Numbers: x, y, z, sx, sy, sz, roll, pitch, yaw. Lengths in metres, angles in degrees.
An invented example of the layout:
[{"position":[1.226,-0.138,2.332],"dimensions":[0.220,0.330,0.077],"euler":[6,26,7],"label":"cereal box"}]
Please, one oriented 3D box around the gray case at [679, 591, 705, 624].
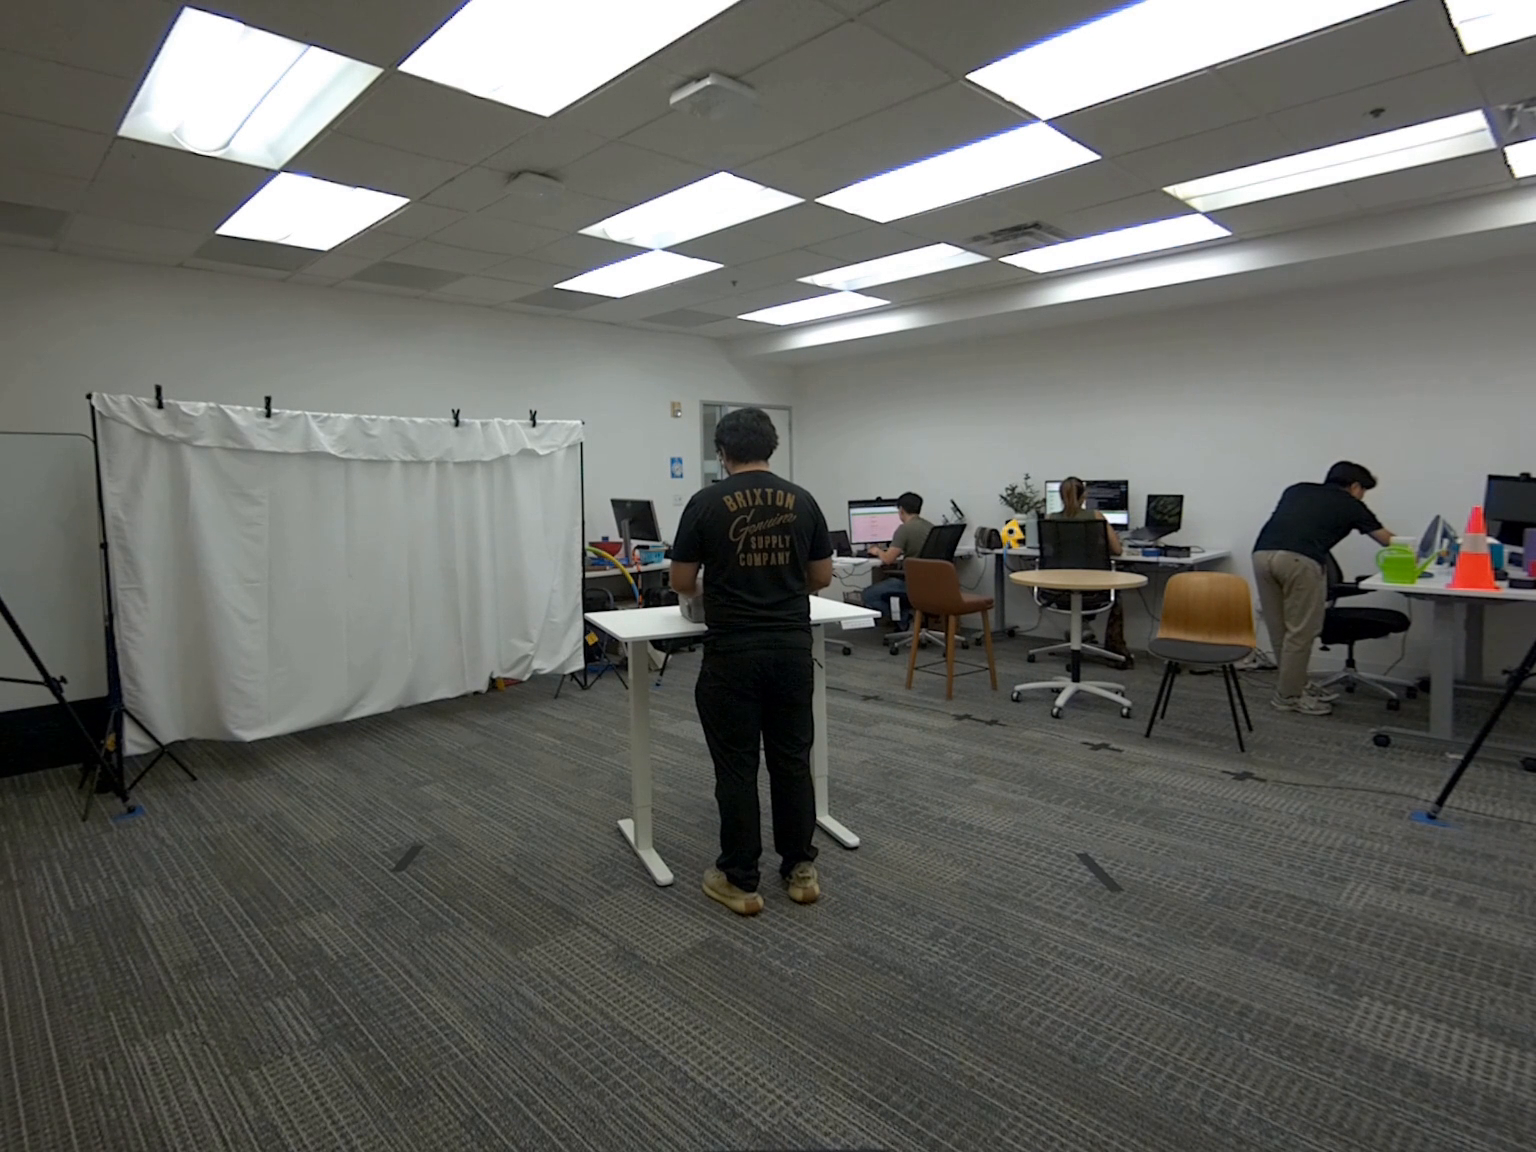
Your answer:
[{"position":[-0.202,0.107,3.228],"dimensions":[0.257,0.104,0.262],"euler":[-4,8,-16],"label":"gray case"}]
